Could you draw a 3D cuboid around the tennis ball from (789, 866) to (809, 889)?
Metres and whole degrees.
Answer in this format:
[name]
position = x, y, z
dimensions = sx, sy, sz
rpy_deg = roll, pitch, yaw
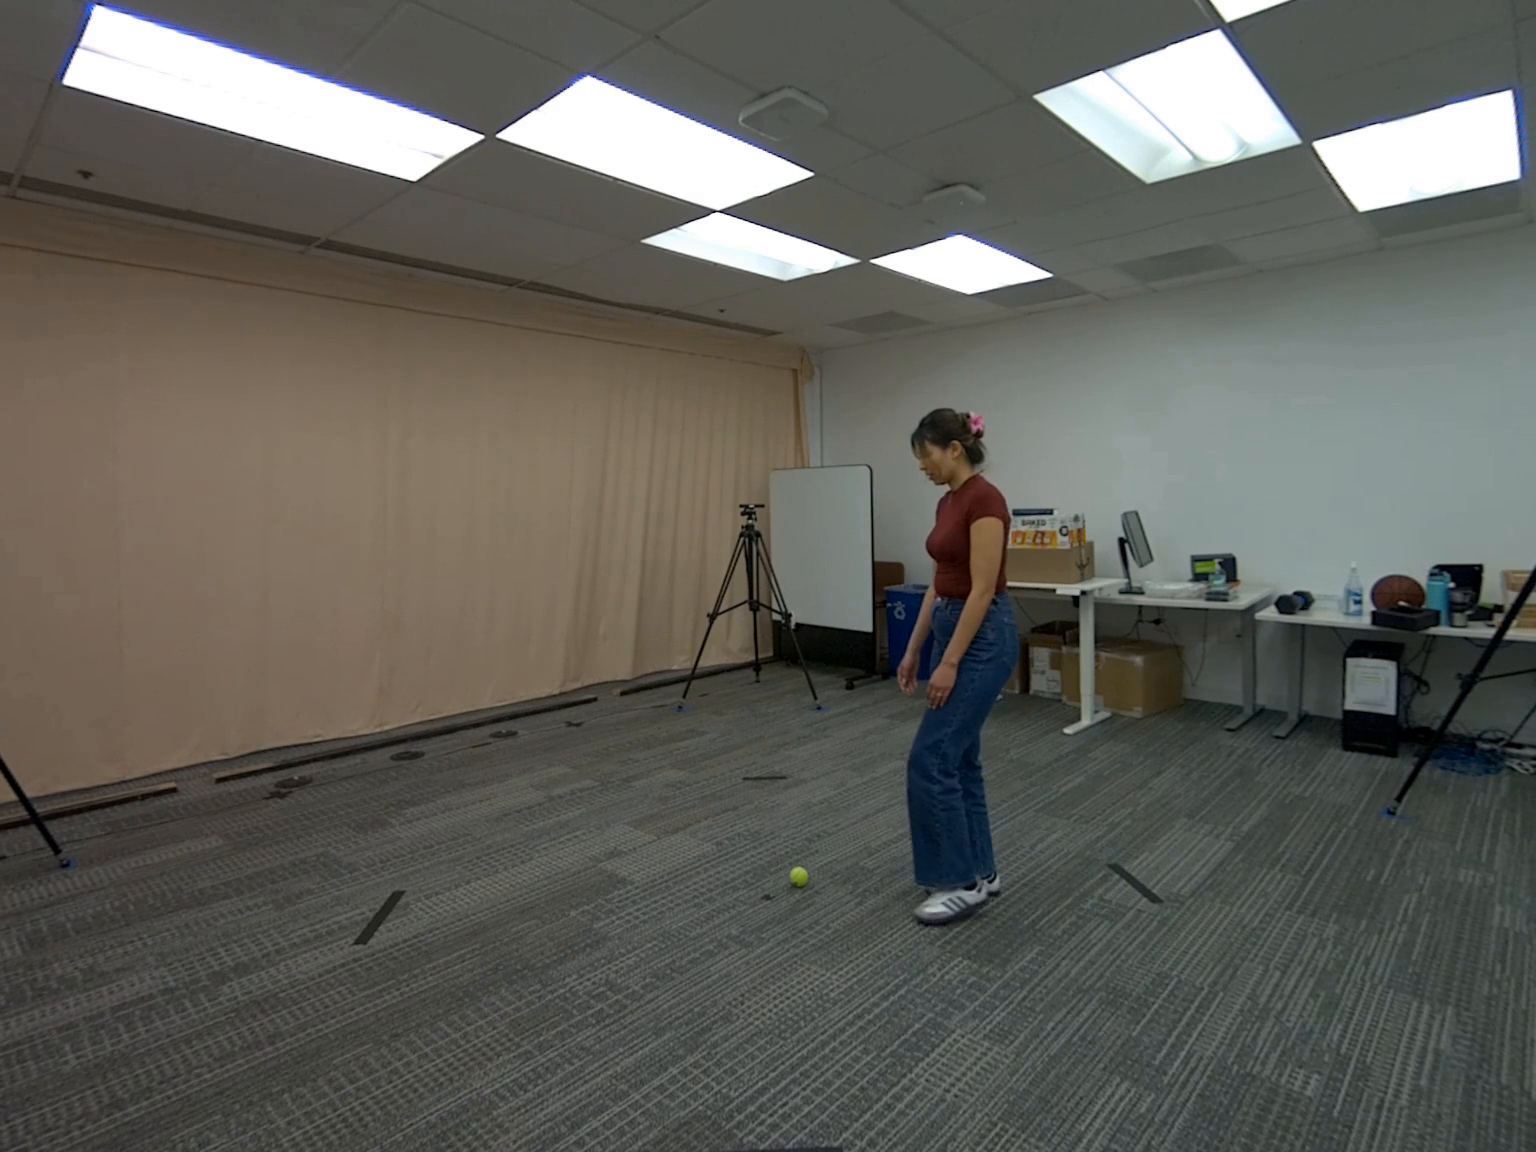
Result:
[tennis ball]
position = 0.109, 1.081, 3.067
dimensions = 0.066, 0.066, 0.067
rpy_deg = -1, 4, -2
